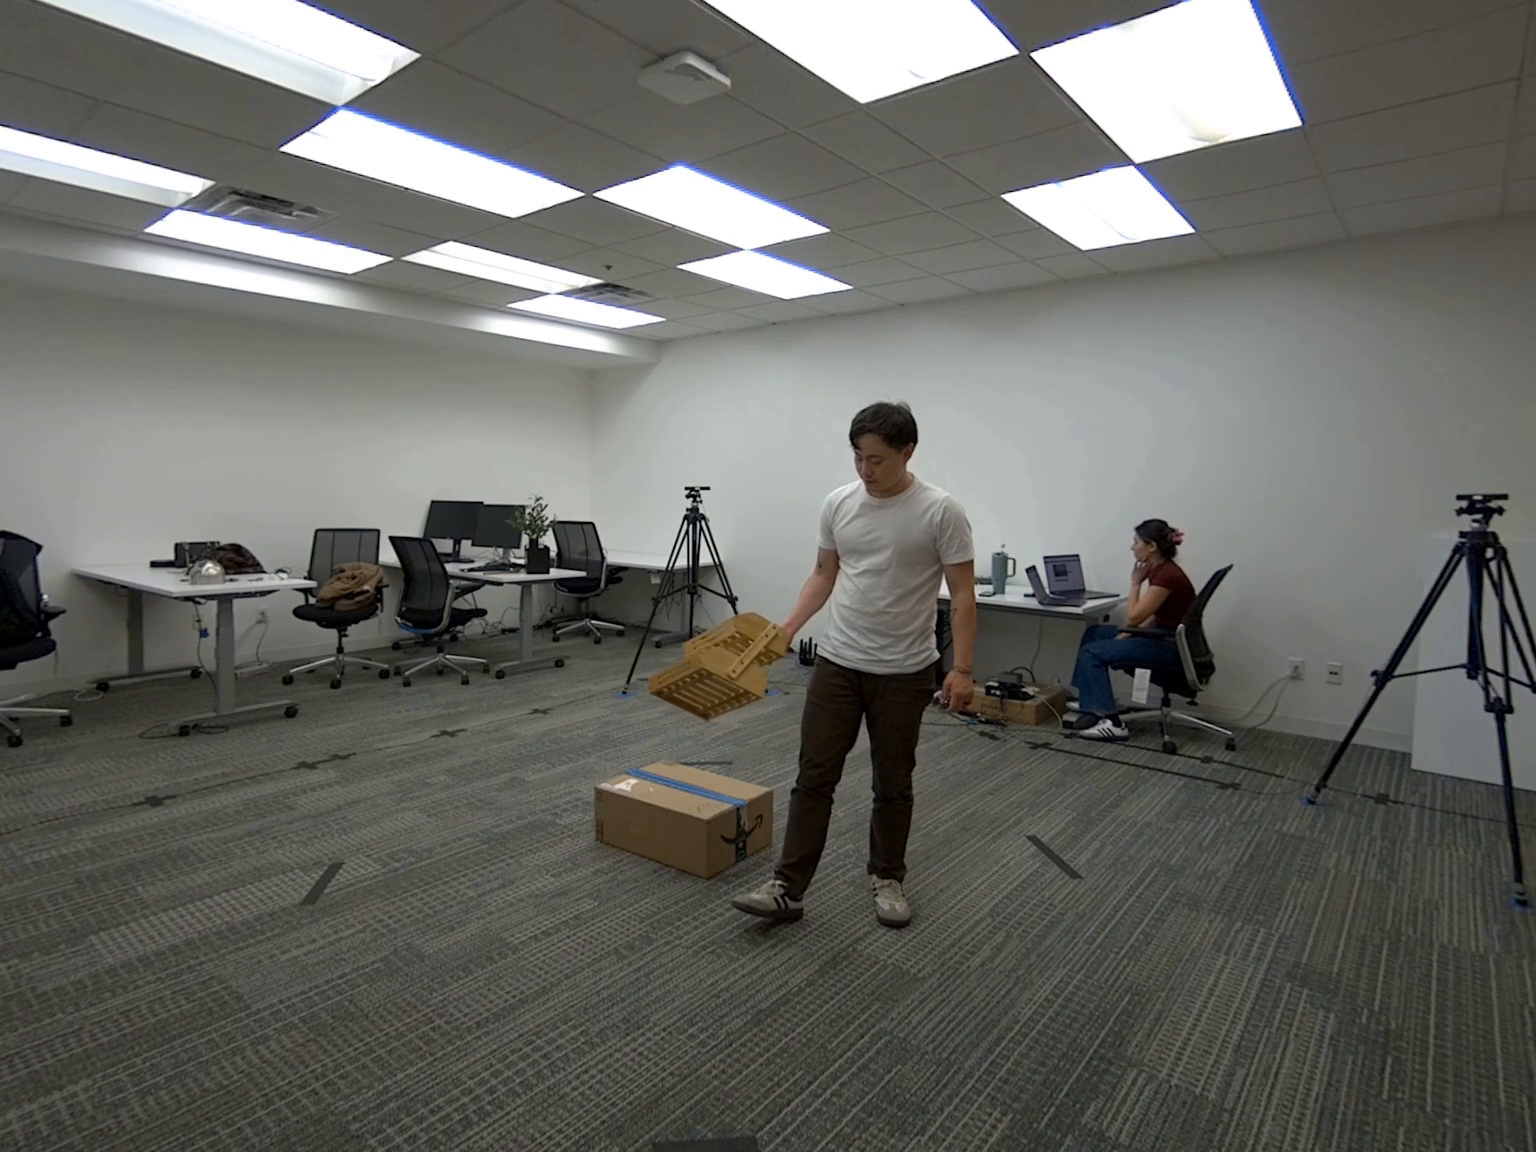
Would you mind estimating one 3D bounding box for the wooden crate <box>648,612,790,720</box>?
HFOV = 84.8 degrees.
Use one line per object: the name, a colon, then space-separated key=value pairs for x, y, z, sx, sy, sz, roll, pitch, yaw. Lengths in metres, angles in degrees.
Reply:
wooden crate: x=-0.175 y=0.269 z=2.725 sx=0.293 sy=0.279 sz=0.328 roll=30 pitch=-39 yaw=-25
